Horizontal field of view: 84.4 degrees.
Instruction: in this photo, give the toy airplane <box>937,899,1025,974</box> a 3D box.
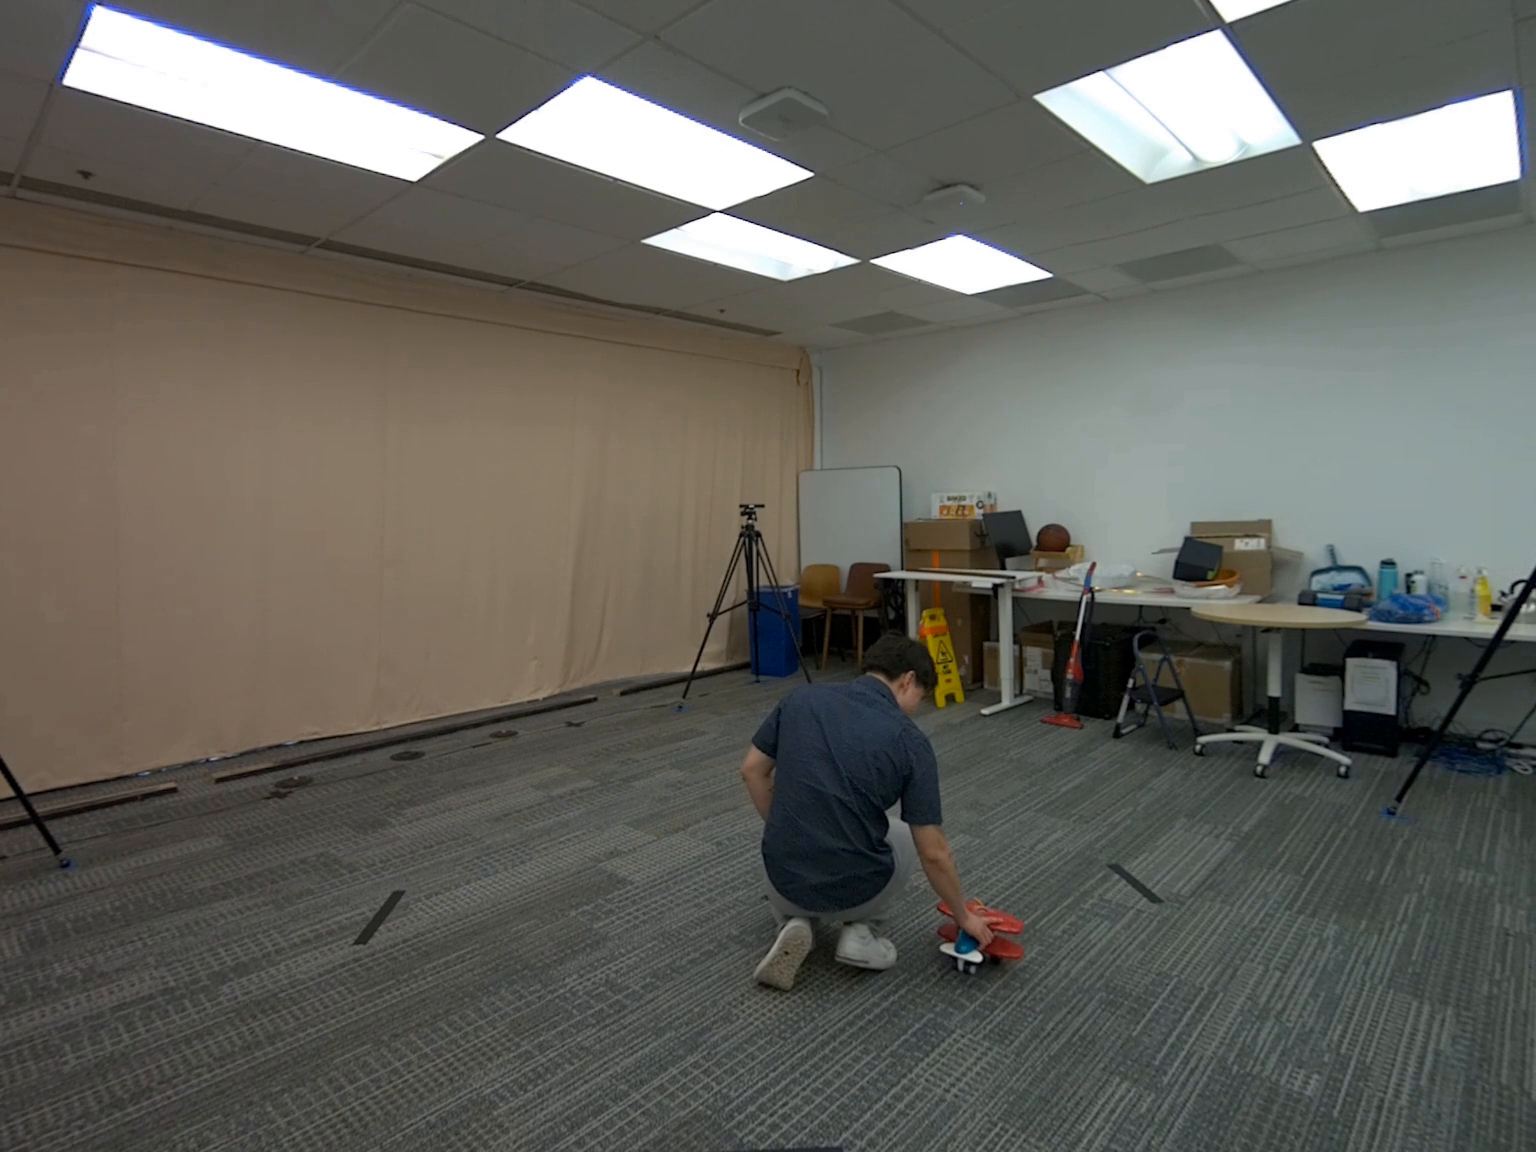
[{"bbox_3d":[0.641,1.083,2.486,0.253,0.157,0.256,6,-5,7],"label":"toy airplane"}]
